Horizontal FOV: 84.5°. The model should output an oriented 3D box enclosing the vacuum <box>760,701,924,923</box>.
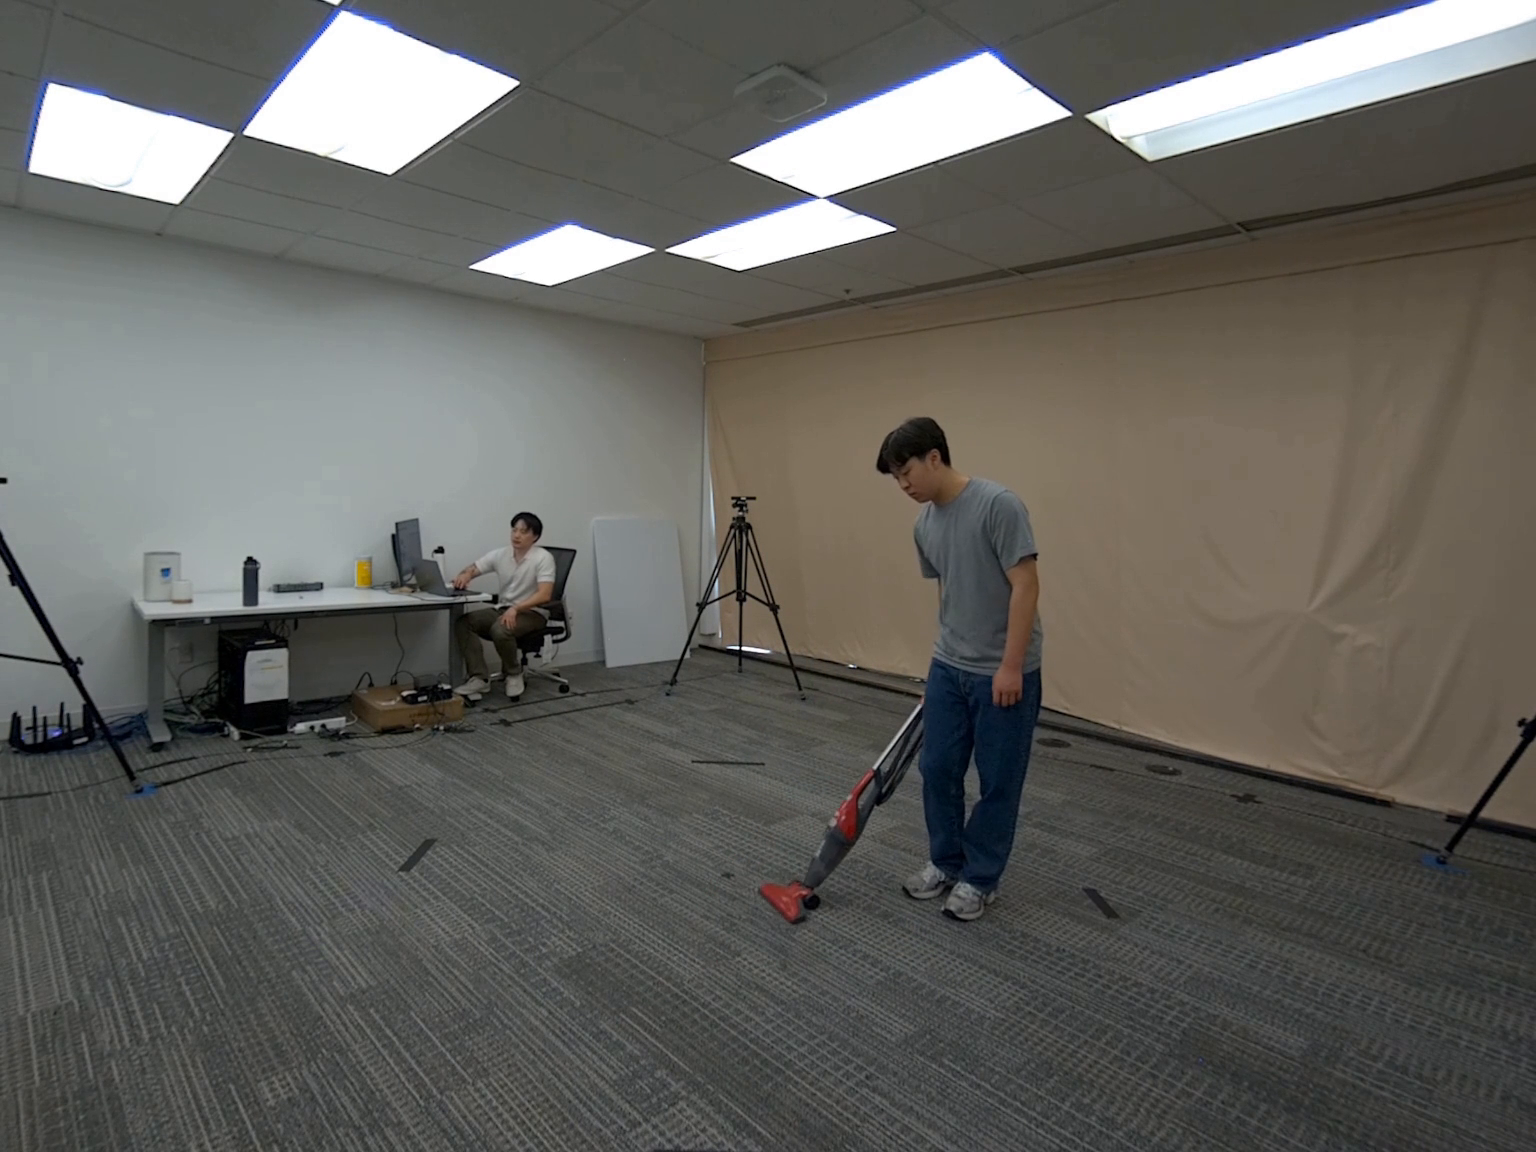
[{"bbox_3d":[0.383,0.734,3.017,0.141,1.050,0.258,46,-17,-22],"label":"vacuum"}]
